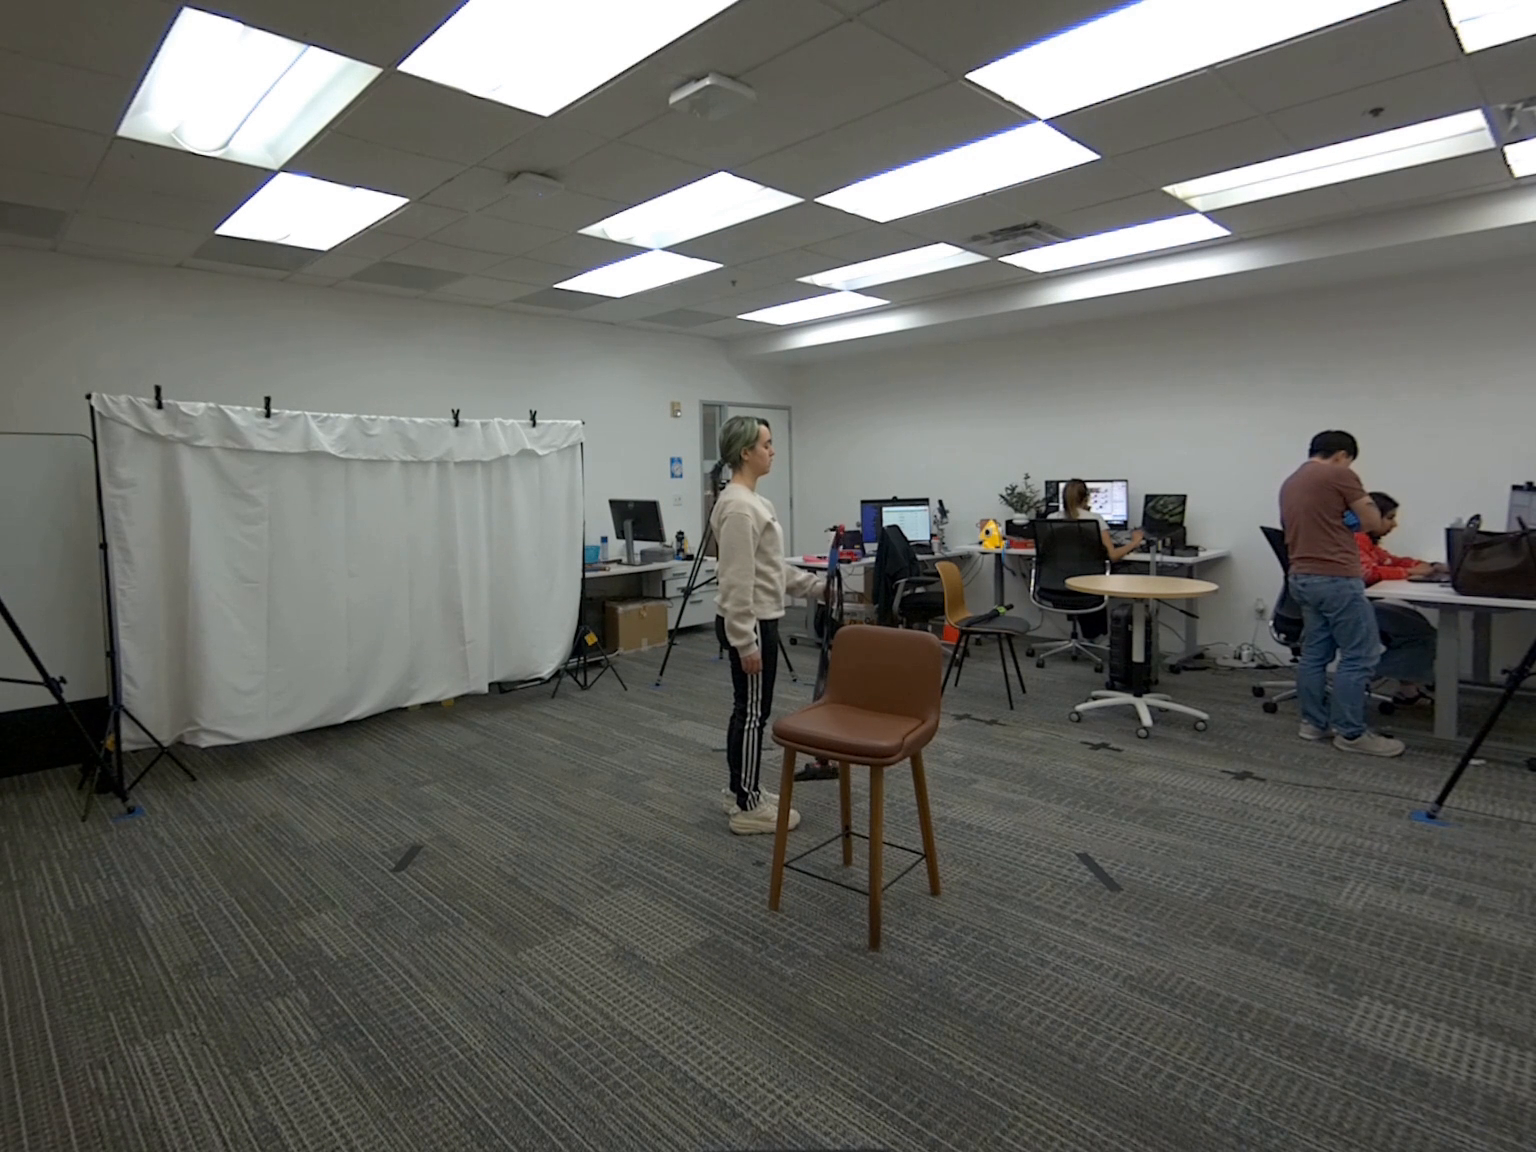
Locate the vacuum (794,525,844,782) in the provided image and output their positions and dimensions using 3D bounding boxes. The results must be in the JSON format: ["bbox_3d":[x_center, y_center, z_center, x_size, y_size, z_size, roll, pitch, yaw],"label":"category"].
[{"bbox_3d":[0.250,0.317,3.545,0.247,1.043,0.148,2,7,-22],"label":"vacuum"}]
